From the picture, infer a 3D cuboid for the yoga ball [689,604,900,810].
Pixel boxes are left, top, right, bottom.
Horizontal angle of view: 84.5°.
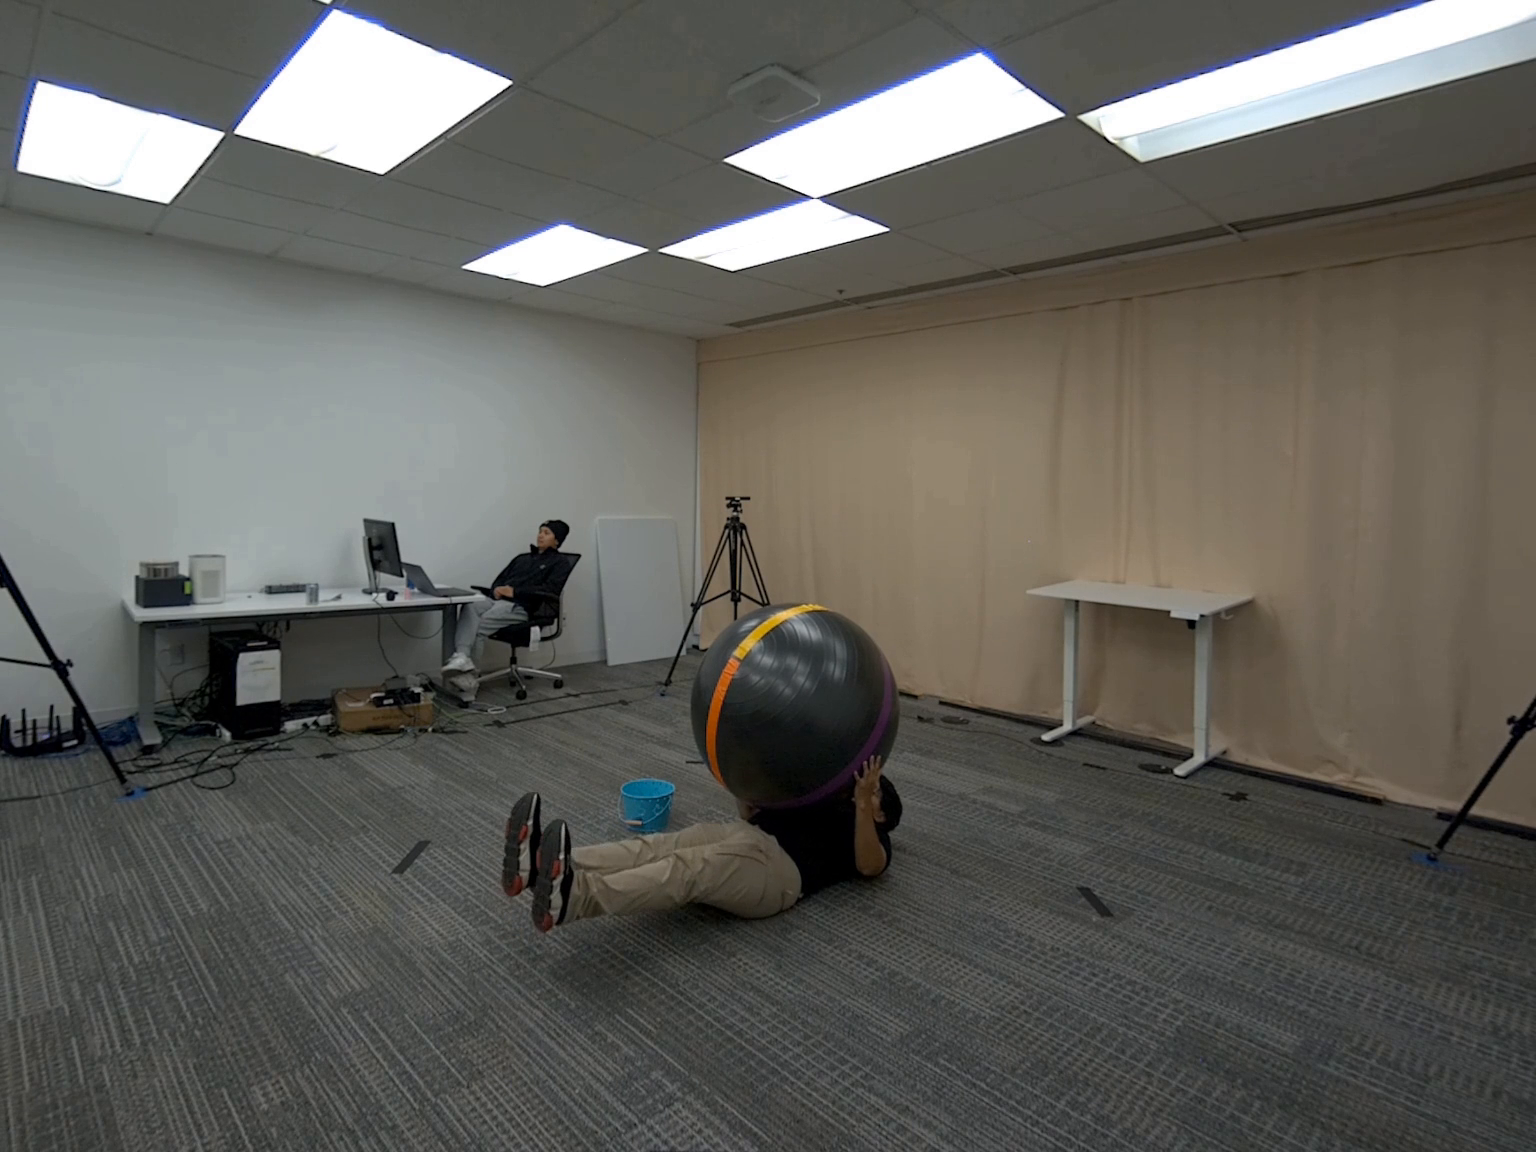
[{"bbox_3d":[0.091,0.479,3.068,0.757,0.755,0.761,1,5,-1],"label":"yoga ball"}]
